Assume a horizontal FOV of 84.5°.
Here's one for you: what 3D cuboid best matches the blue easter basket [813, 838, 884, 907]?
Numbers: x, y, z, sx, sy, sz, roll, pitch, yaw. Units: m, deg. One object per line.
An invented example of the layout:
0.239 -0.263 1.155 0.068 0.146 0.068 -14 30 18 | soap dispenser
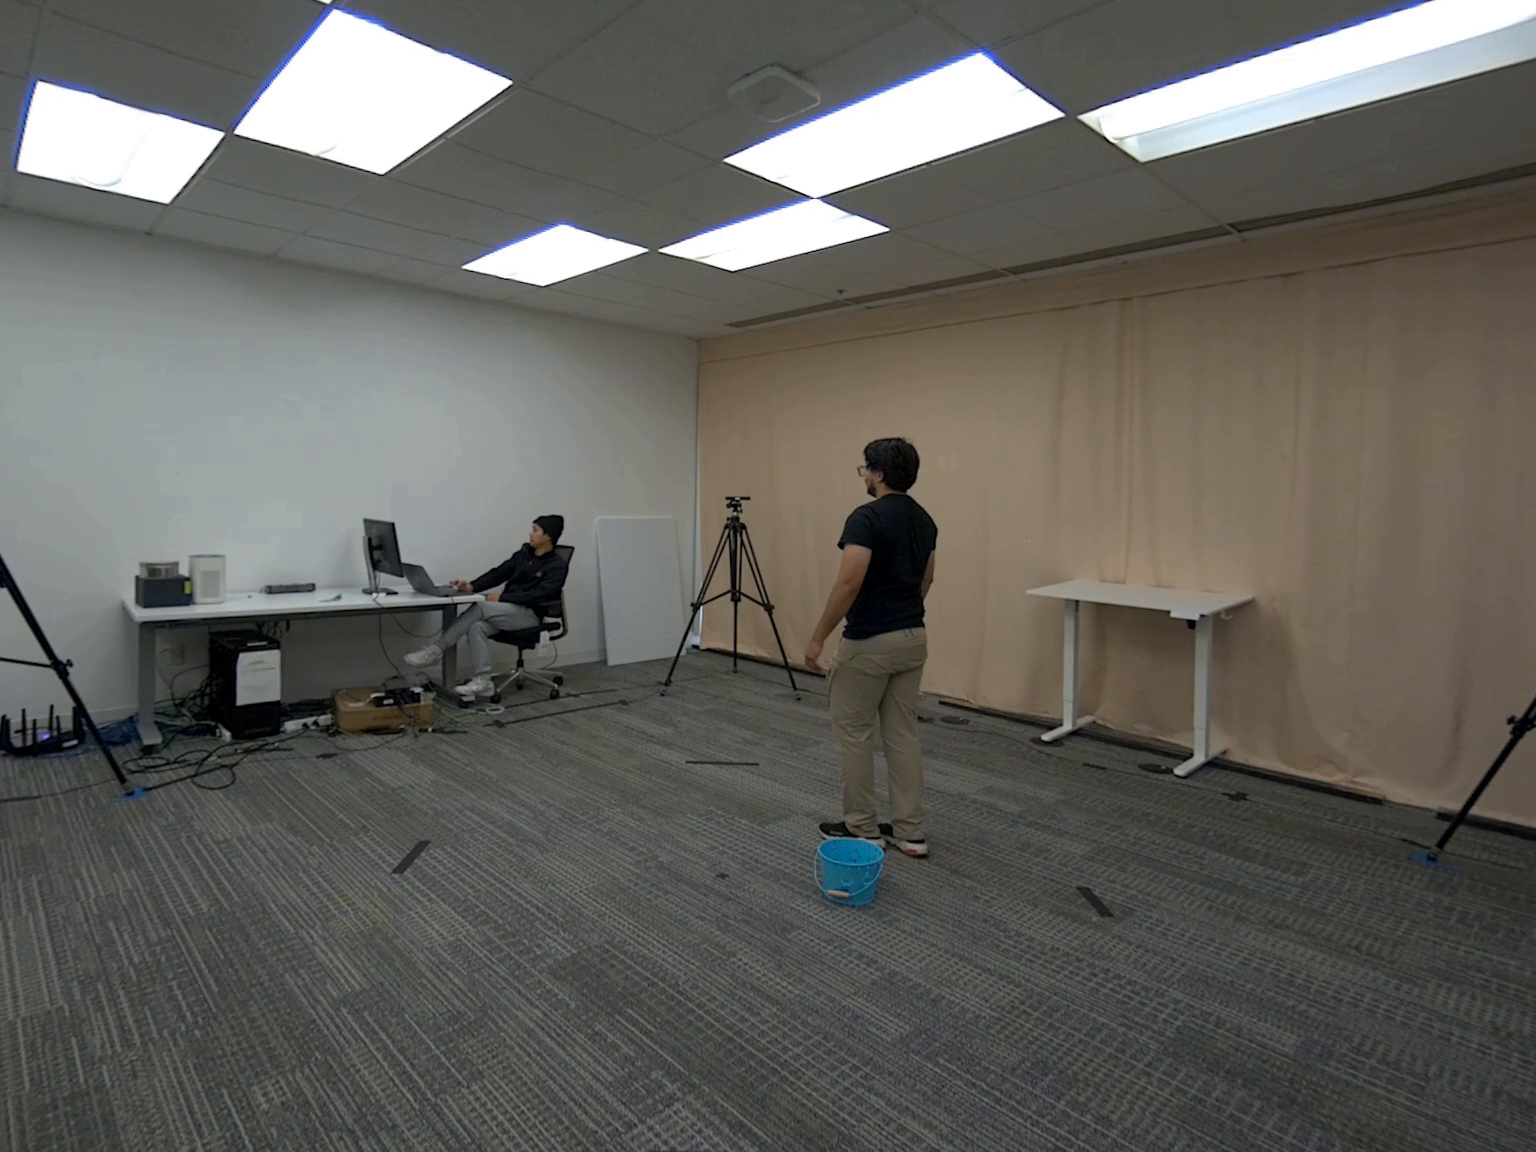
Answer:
0.280 1.047 2.987 0.243 0.155 0.244 1 4 -1 | blue easter basket
